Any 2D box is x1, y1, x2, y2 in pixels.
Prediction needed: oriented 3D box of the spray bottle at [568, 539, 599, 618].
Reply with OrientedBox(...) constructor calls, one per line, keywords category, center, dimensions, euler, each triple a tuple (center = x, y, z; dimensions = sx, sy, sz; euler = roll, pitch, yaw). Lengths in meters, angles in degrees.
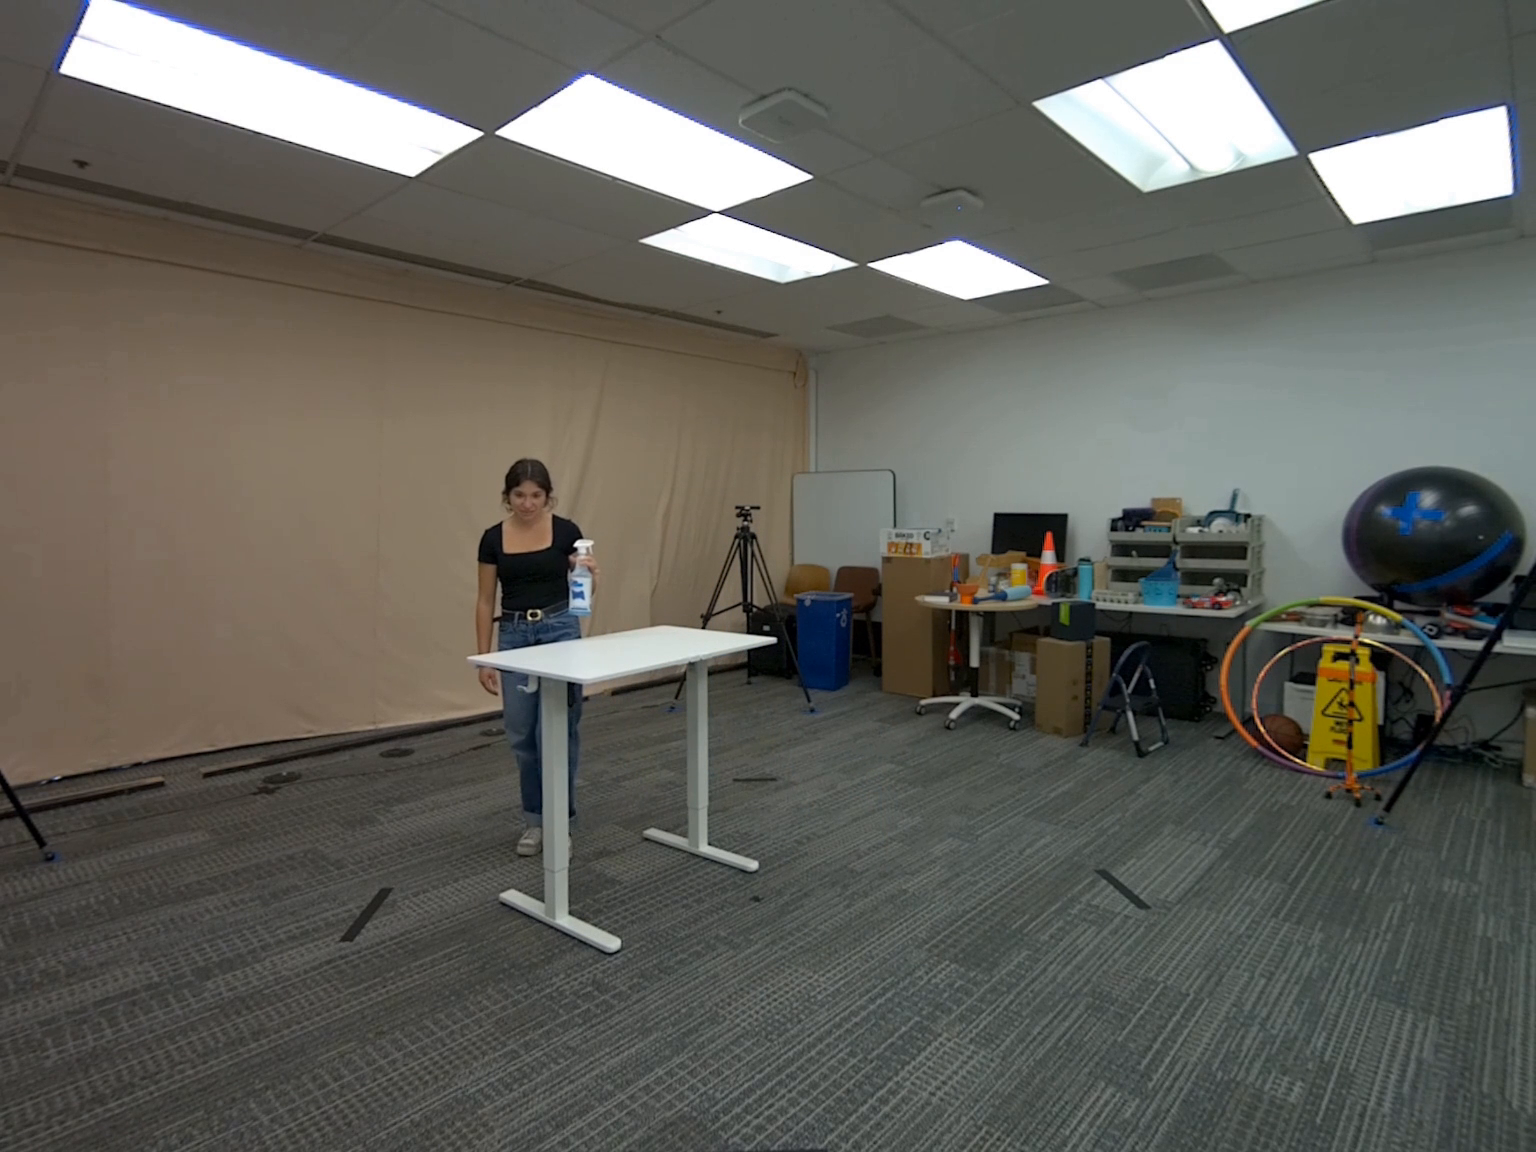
OrientedBox(category="spray bottle", center=(-0.730, 0.006, 3.274), dimensions=(0.088, 0.298, 0.089), euler=(4, -7, -23))
